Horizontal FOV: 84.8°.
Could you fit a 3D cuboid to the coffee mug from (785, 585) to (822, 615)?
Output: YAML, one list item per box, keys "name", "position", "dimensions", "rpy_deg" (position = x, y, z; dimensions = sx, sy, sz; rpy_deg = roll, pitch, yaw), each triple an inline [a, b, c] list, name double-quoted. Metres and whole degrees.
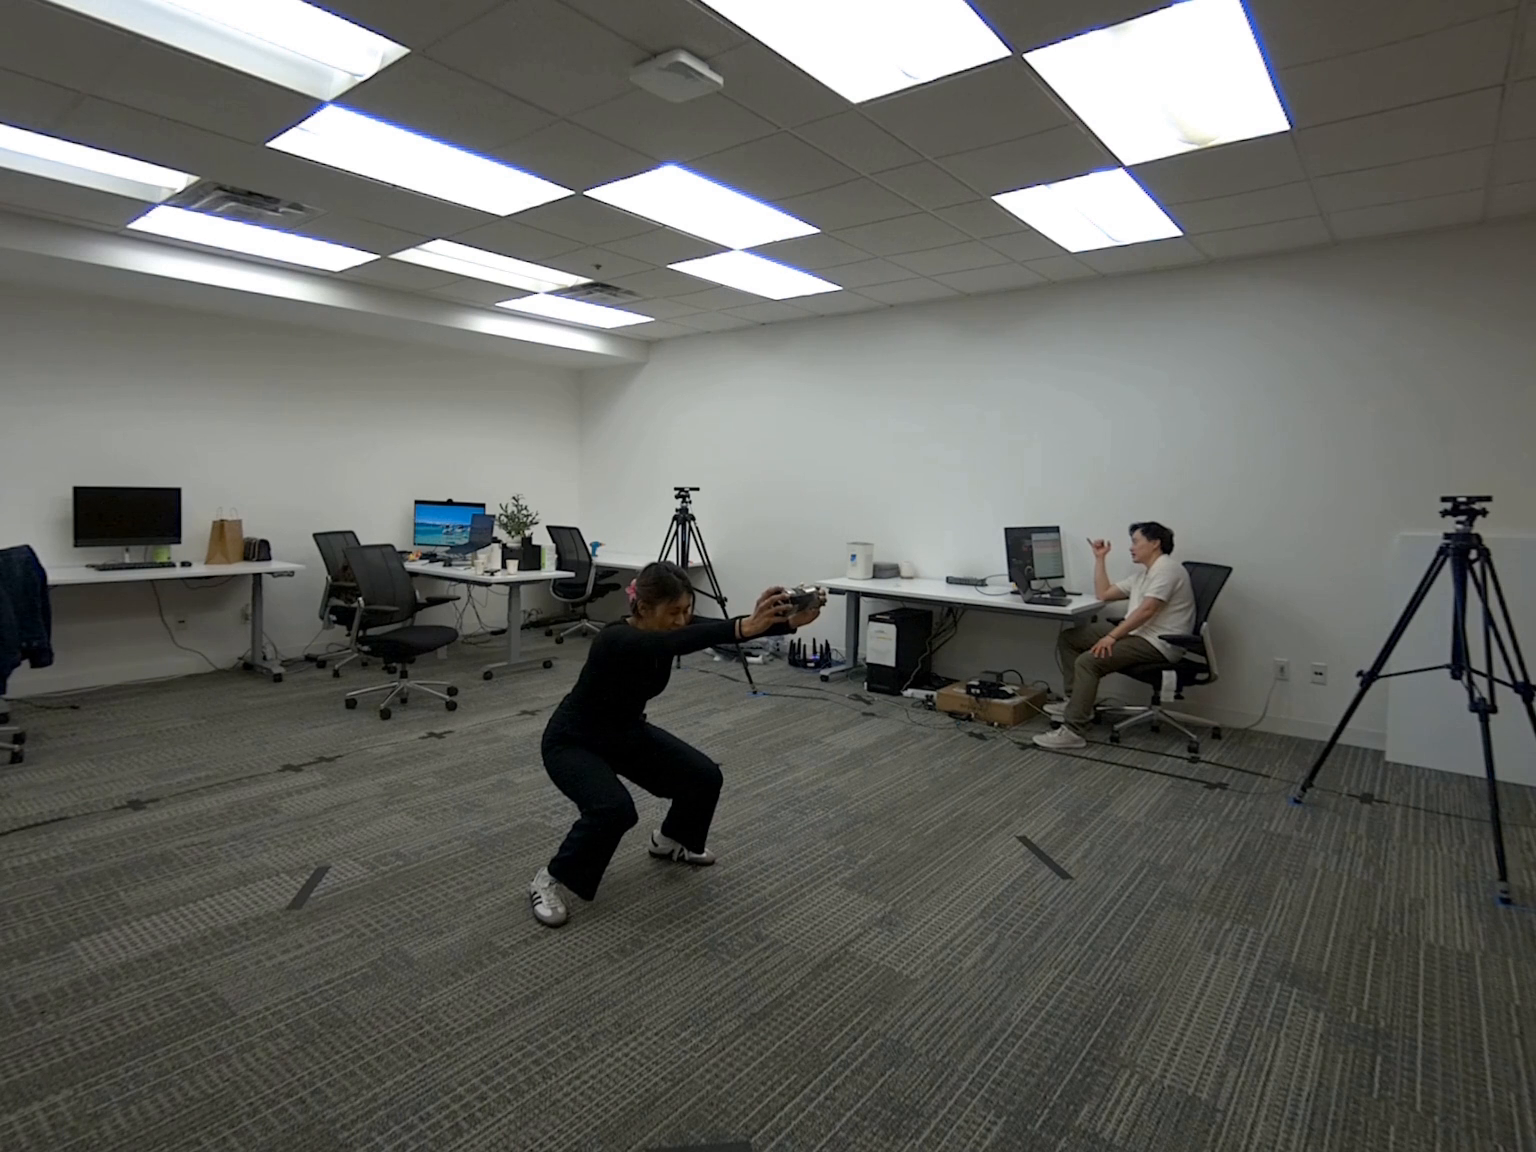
- name: "coffee mug"
  position: [0.069, 0.077, 2.431]
  dimensions: [0.197, 0.087, 0.127]
  rpy_deg: [-2, 12, -45]
